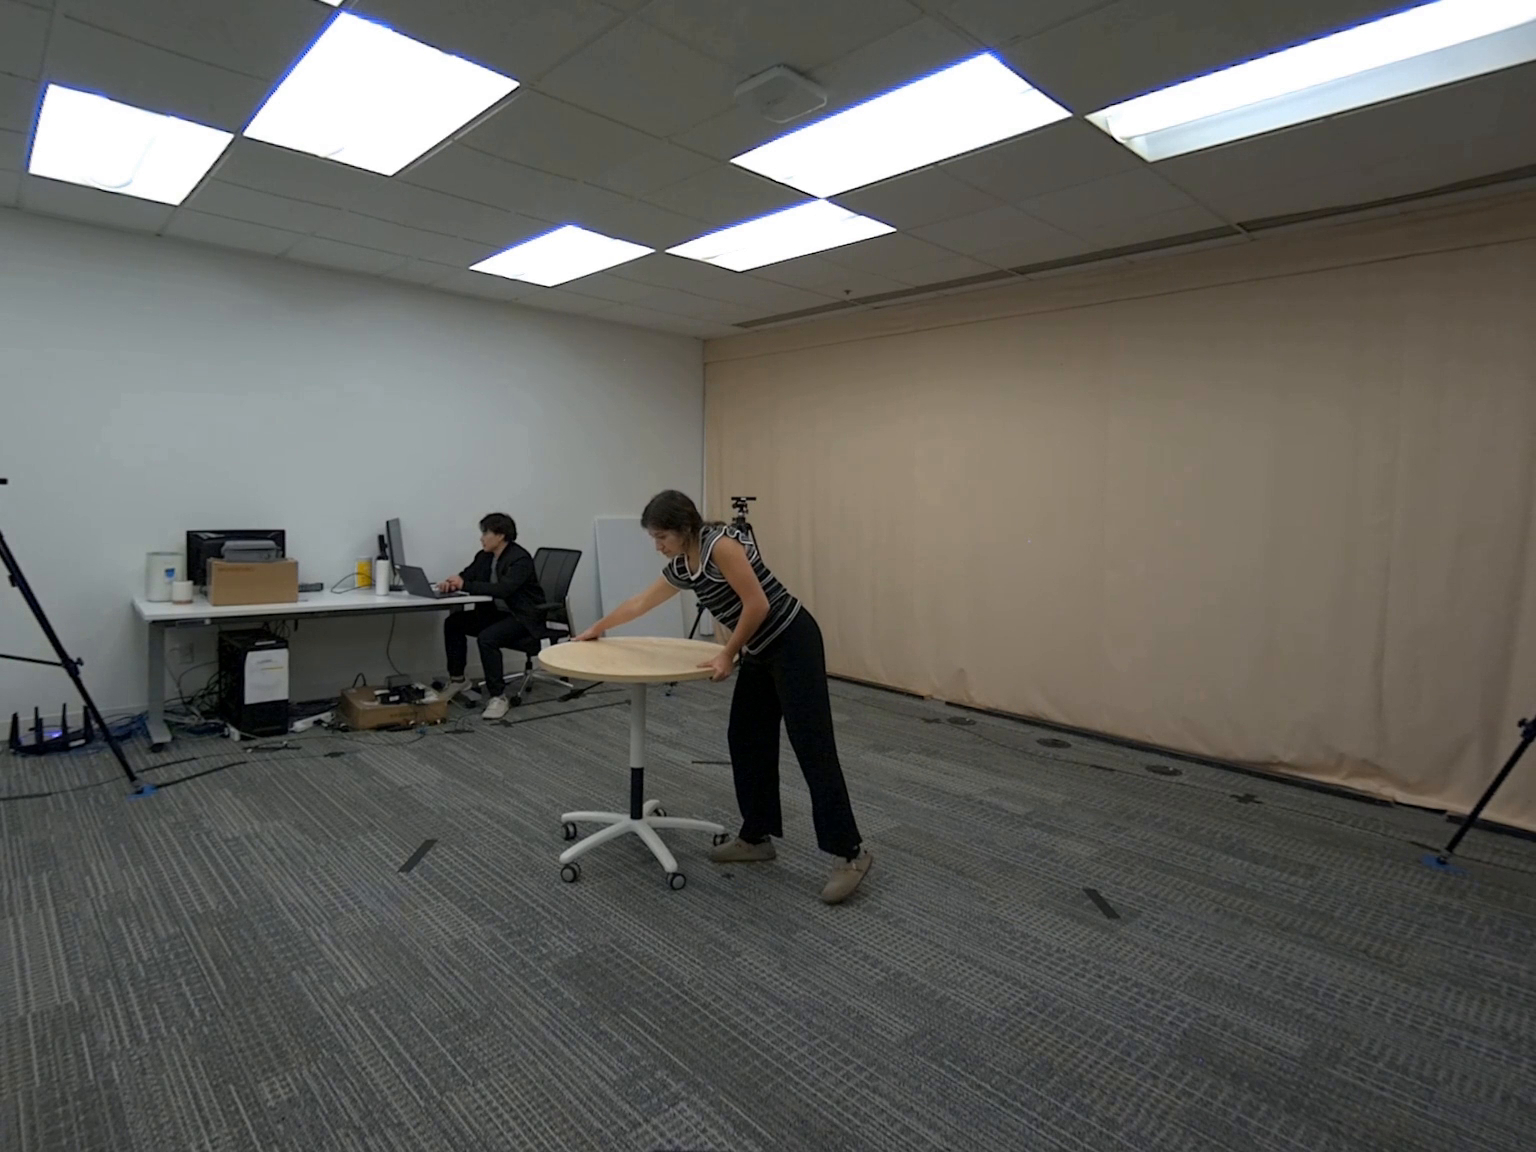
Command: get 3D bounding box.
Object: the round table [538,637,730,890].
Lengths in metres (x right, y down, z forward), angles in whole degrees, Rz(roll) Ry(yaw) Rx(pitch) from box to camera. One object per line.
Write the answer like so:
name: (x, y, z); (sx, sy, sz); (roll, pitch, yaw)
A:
round table: (-0.506, 0.692, 3.263); (0.763, 0.792, 0.766); (1, 4, -1)
